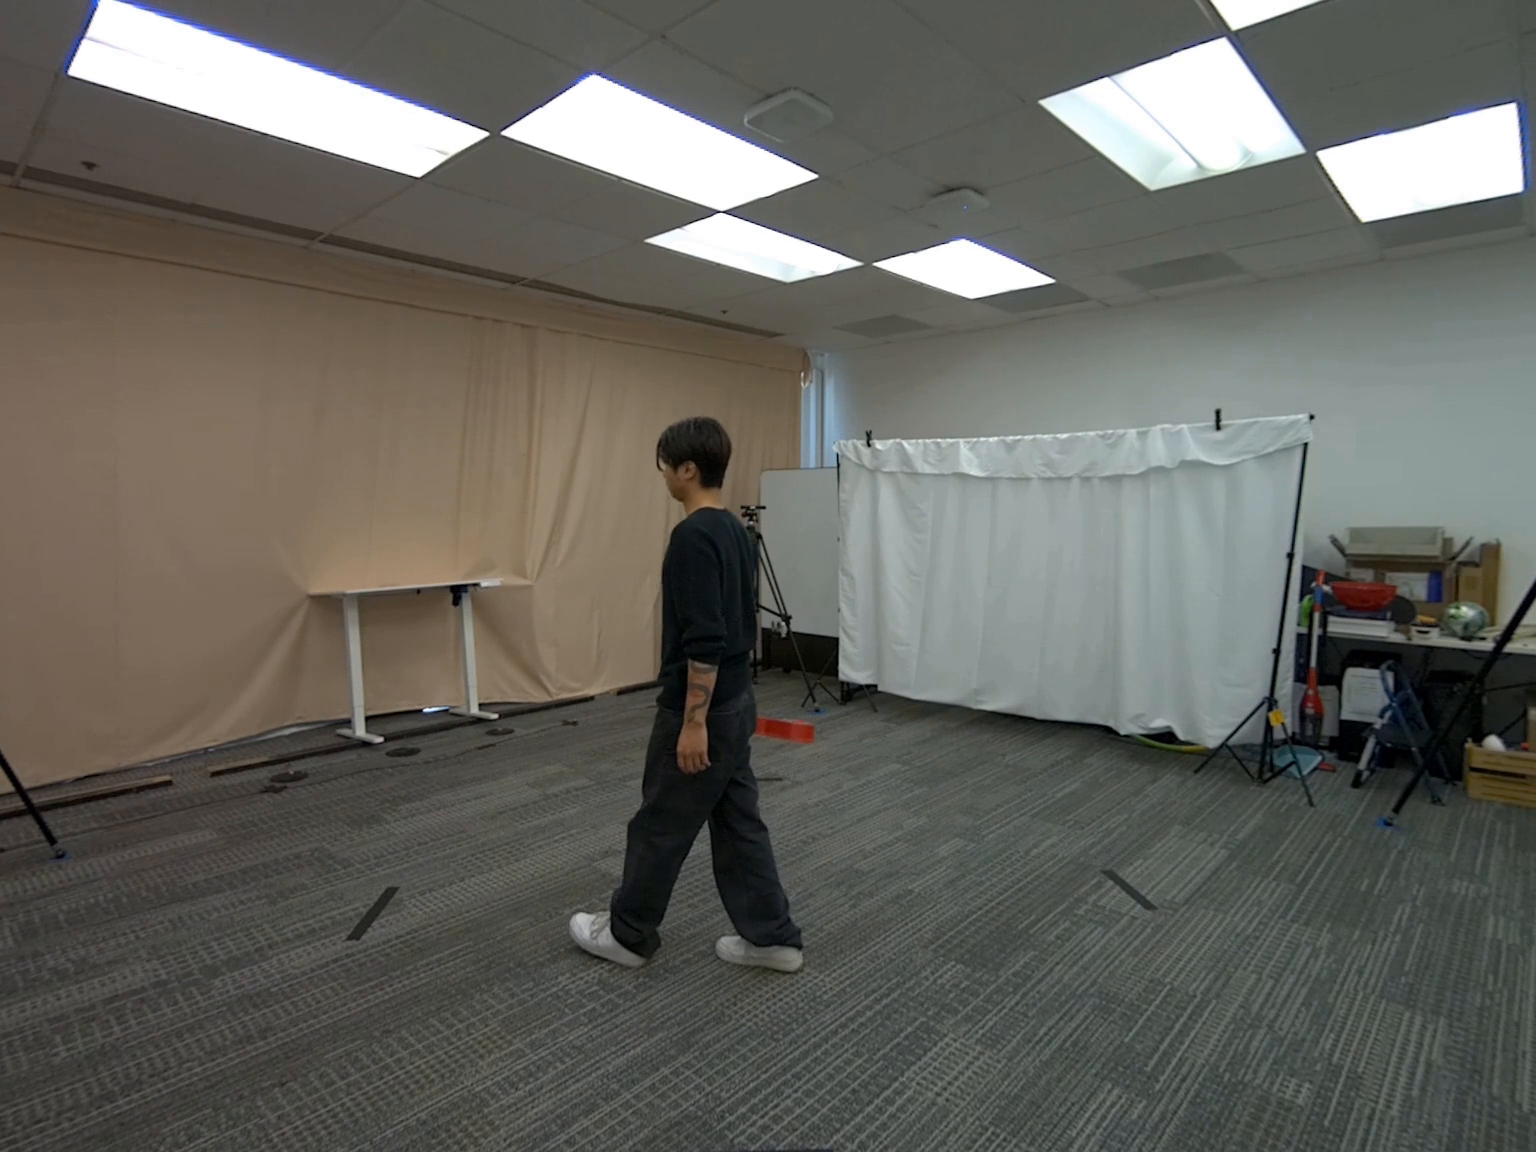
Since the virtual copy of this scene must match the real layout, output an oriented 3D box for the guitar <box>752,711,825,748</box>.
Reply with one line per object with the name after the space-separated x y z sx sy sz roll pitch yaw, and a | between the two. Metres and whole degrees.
-0.080 0.493 2.858 0.508 0.071 0.188 6 -6 19 | guitar
